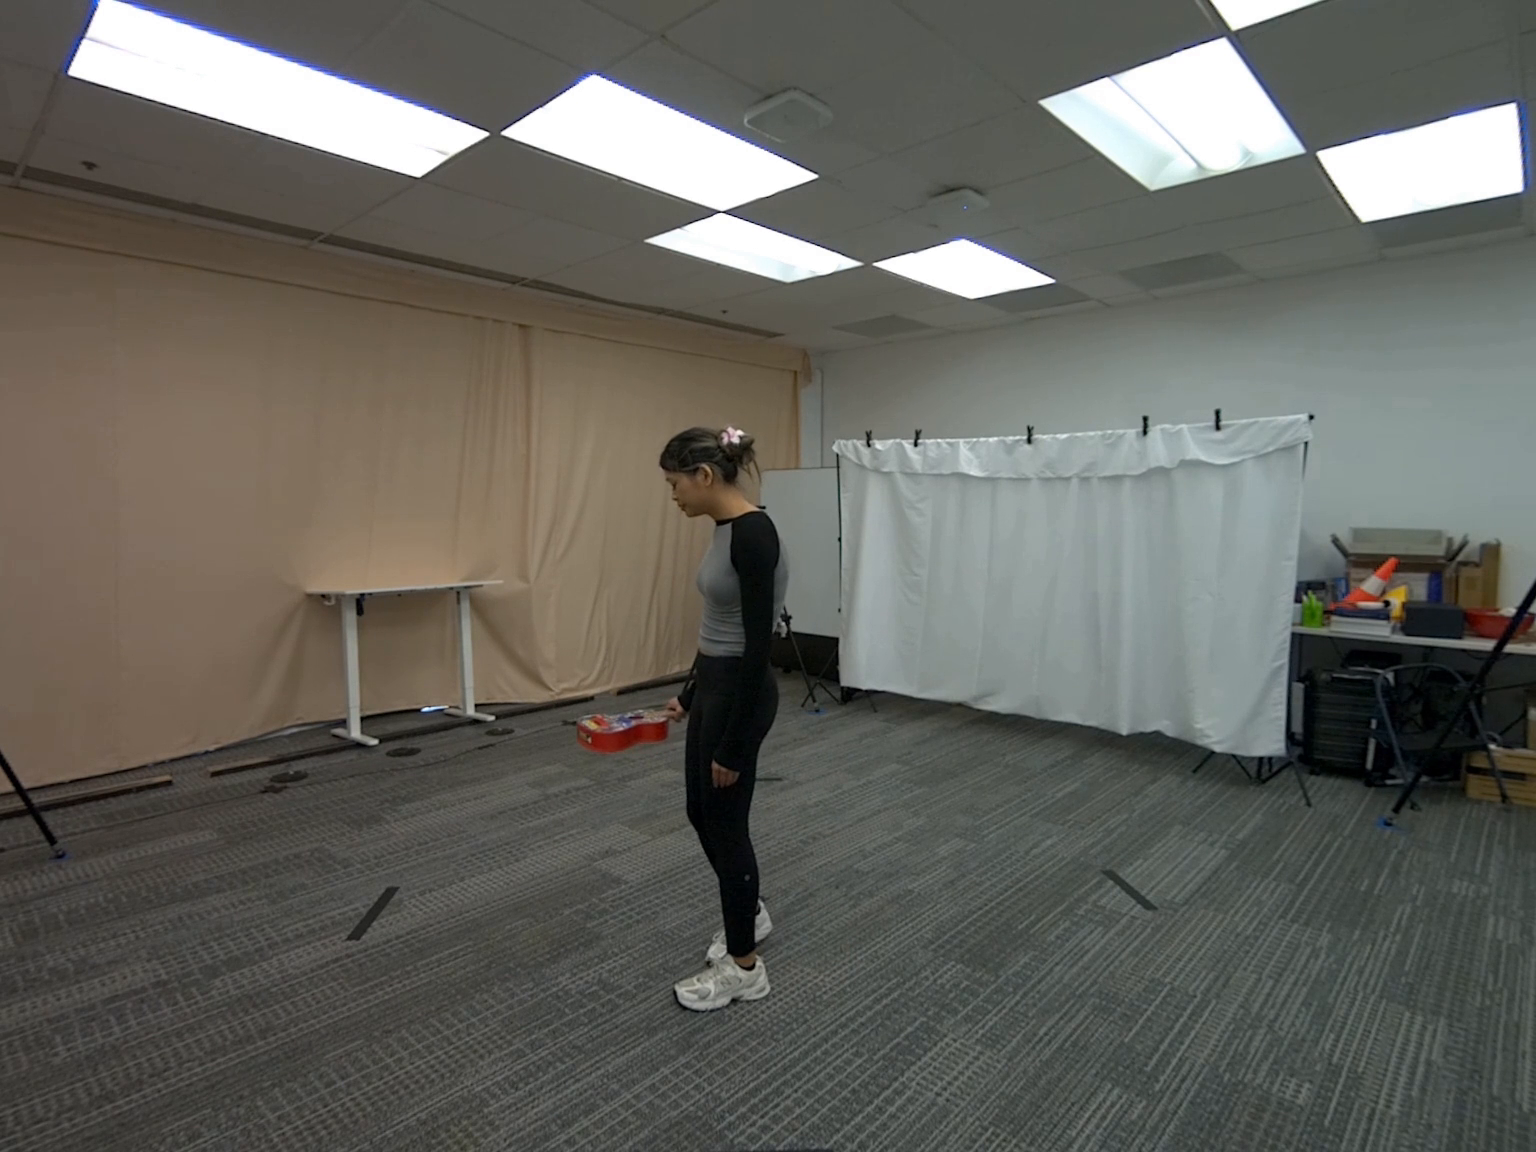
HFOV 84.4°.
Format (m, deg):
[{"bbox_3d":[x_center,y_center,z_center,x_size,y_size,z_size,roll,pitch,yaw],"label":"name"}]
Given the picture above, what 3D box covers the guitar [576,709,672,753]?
[{"bbox_3d":[-0.314,0.450,2.550,0.486,0.070,0.198,-4,7,-24],"label":"guitar"}]
